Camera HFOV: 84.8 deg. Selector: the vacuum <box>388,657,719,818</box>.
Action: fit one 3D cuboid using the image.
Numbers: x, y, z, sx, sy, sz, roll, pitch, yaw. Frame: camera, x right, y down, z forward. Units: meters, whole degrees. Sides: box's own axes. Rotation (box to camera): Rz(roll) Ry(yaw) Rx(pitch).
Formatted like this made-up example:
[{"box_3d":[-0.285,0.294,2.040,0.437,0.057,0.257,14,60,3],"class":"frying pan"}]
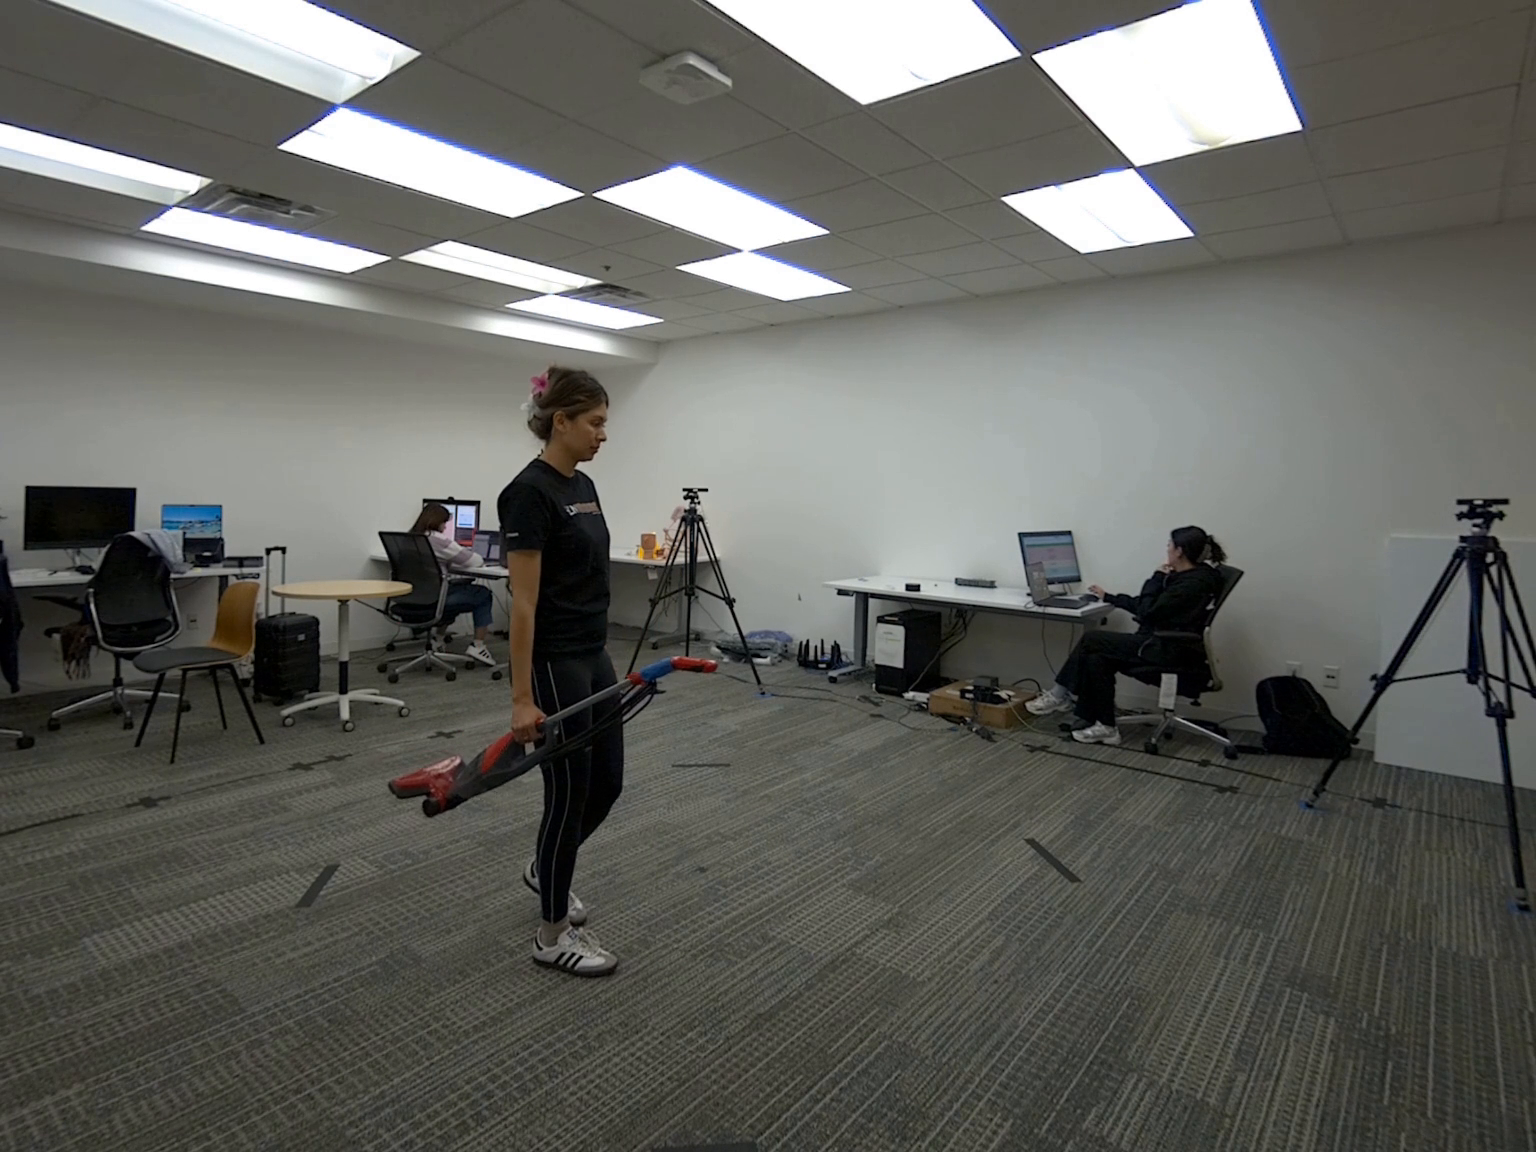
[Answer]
[{"box_3d":[-0.560,0.410,2.163,1.062,0.146,0.246,-26,-10,27],"class":"vacuum"}]
